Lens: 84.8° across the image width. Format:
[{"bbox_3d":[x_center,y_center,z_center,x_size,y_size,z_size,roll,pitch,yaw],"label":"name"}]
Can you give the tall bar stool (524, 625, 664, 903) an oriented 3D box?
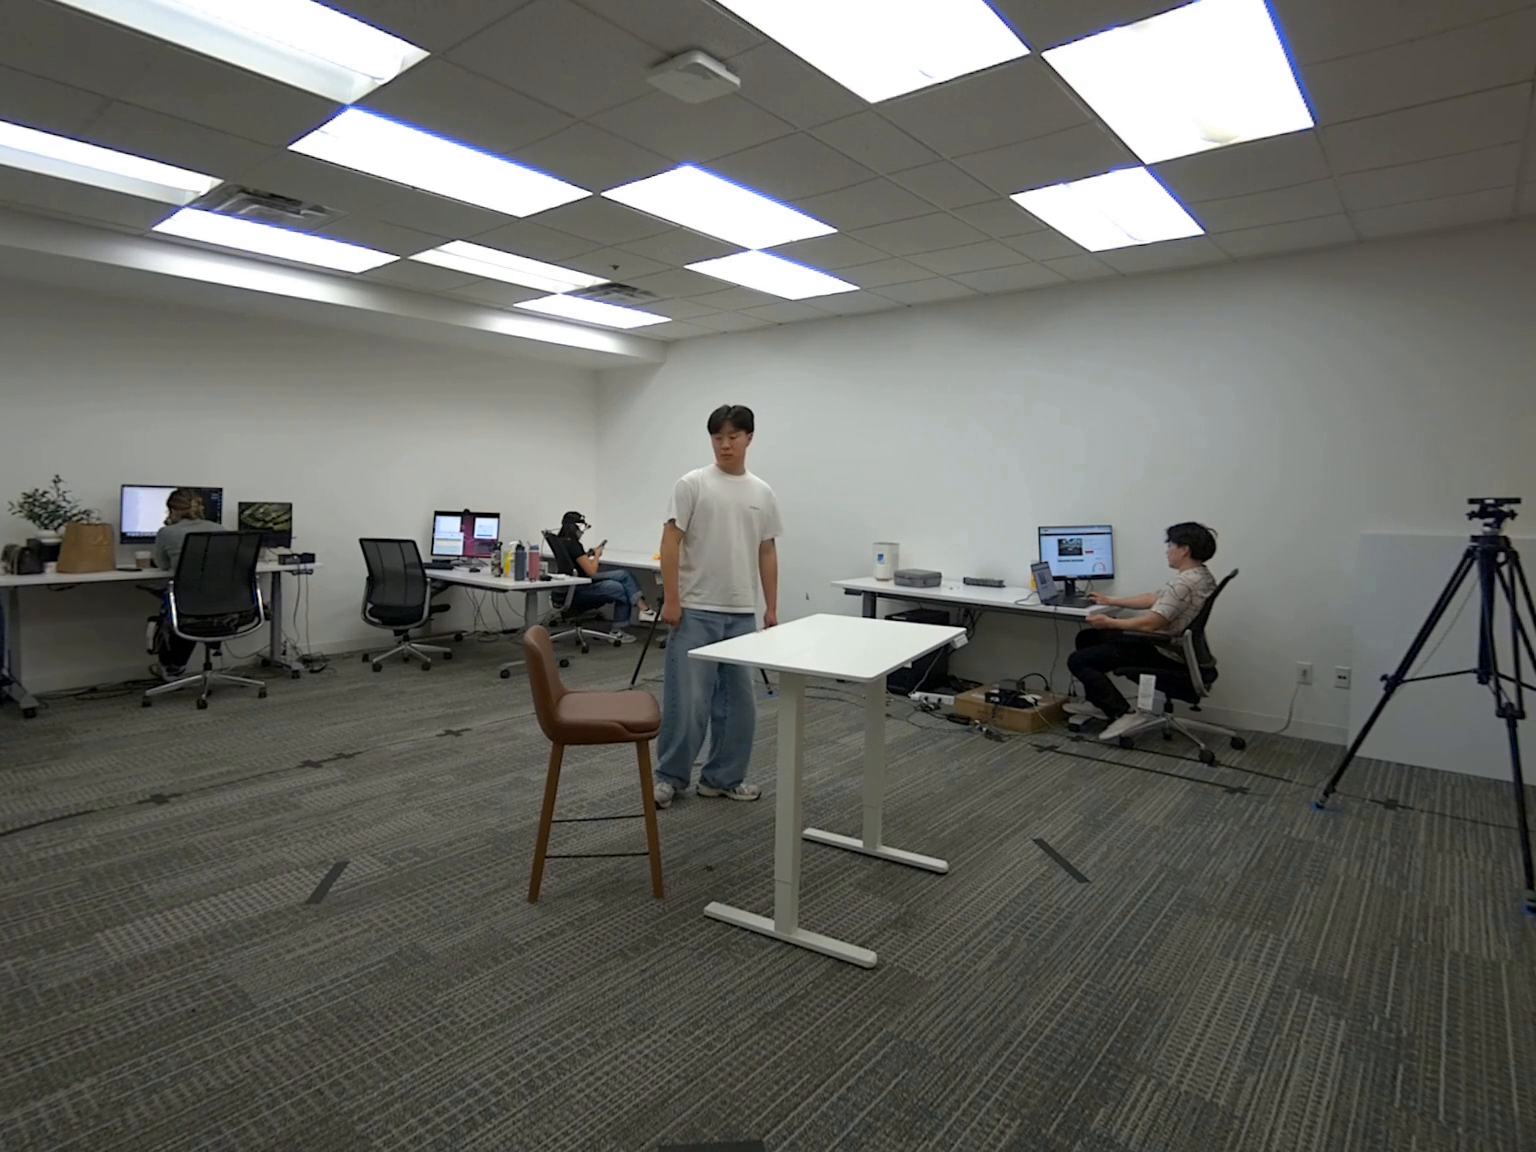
[{"bbox_3d":[-0.624,0.632,3.025,0.463,0.887,0.463,-2,3,-11],"label":"tall bar stool"}]
